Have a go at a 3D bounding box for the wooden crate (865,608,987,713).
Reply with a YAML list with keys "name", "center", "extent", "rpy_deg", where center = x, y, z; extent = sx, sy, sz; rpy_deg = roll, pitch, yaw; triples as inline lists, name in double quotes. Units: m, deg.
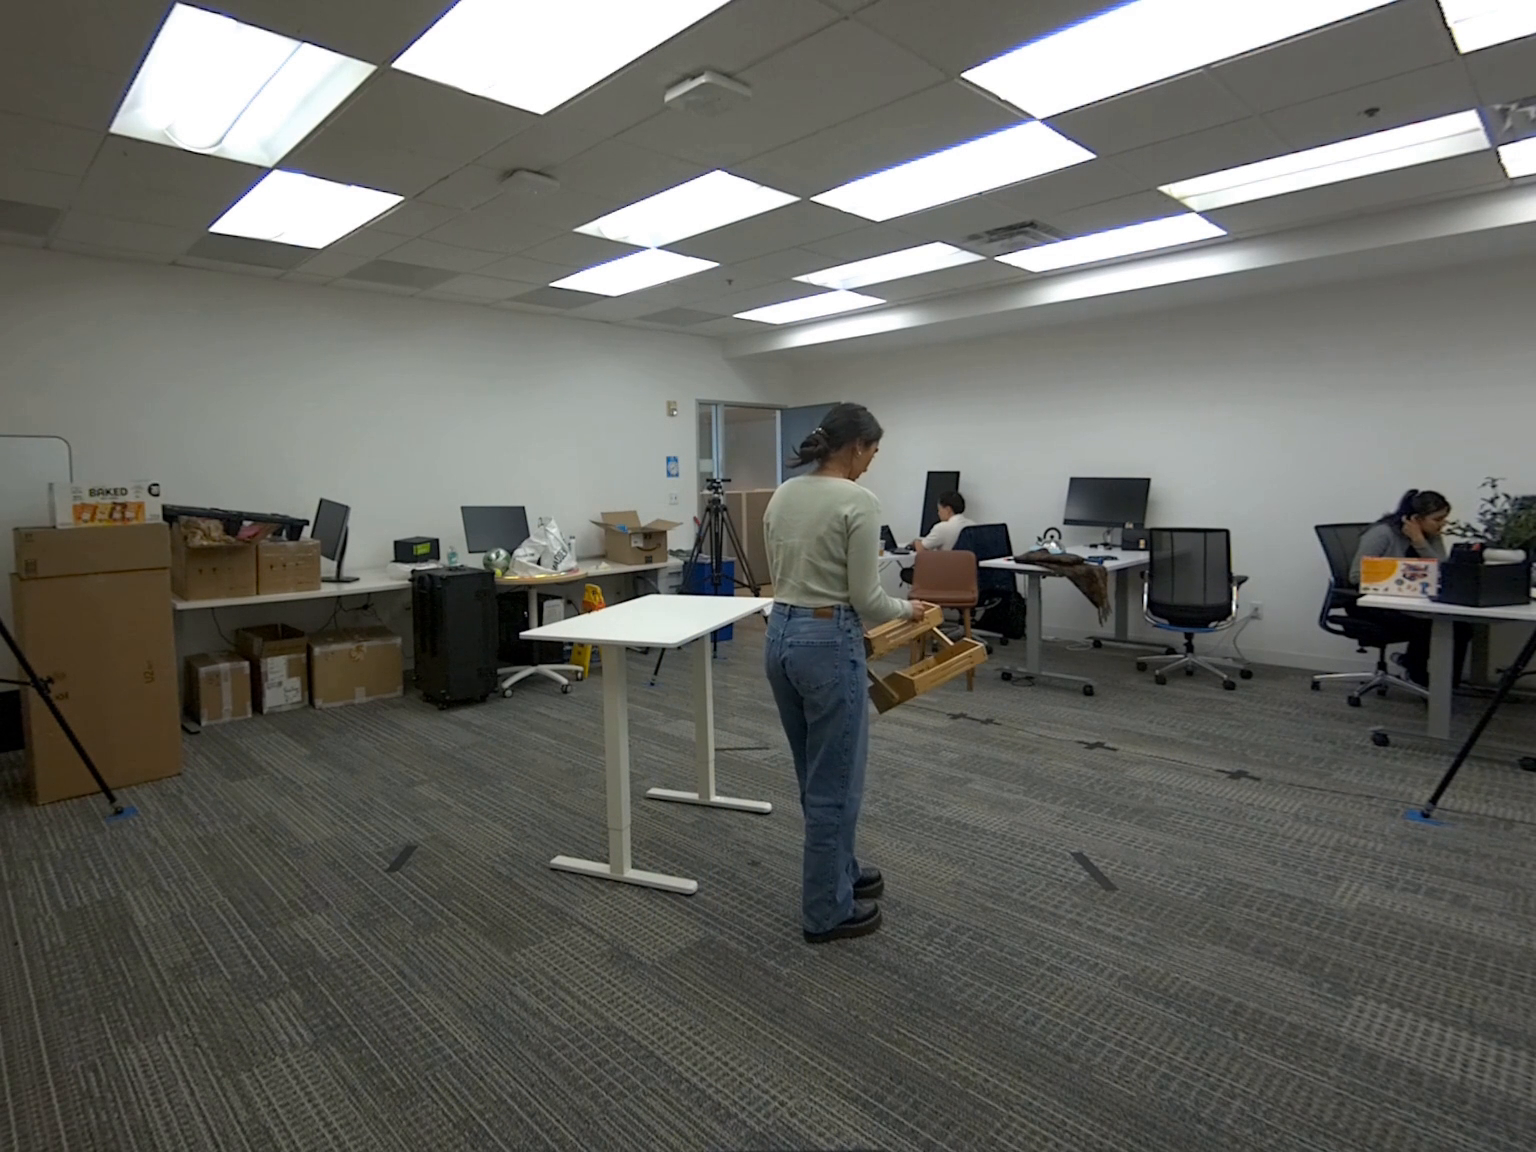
- name: "wooden crate"
  center: [0.454, 0.238, 2.725]
  extent: [0.319, 0.278, 0.301]
  rpy_deg: [-20, -15, -28]
